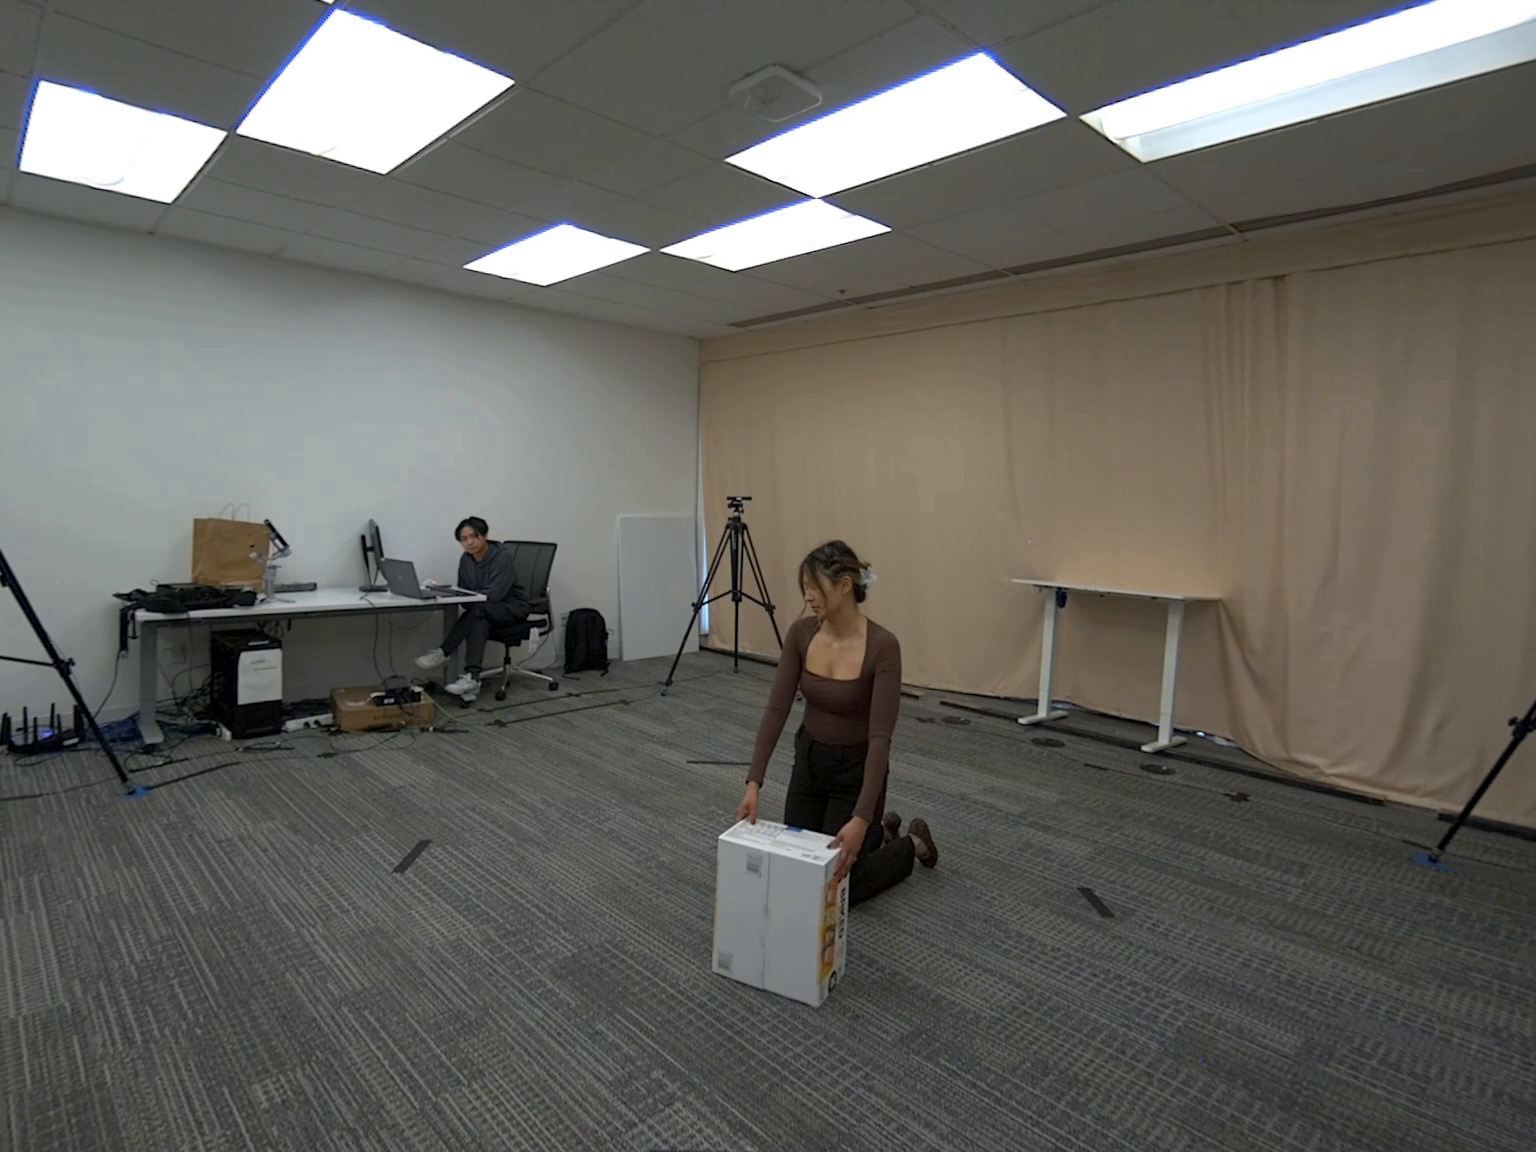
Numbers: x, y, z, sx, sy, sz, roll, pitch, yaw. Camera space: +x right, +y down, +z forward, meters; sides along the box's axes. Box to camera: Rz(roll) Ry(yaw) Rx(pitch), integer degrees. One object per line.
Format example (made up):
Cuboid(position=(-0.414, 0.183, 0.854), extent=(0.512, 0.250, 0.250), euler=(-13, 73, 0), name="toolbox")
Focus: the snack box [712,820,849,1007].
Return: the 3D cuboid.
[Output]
Cuboid(position=(0.033, 0.965, 2.464), extent=(0.347, 0.404, 0.202), euler=(4, 4, 27), name="snack box")
